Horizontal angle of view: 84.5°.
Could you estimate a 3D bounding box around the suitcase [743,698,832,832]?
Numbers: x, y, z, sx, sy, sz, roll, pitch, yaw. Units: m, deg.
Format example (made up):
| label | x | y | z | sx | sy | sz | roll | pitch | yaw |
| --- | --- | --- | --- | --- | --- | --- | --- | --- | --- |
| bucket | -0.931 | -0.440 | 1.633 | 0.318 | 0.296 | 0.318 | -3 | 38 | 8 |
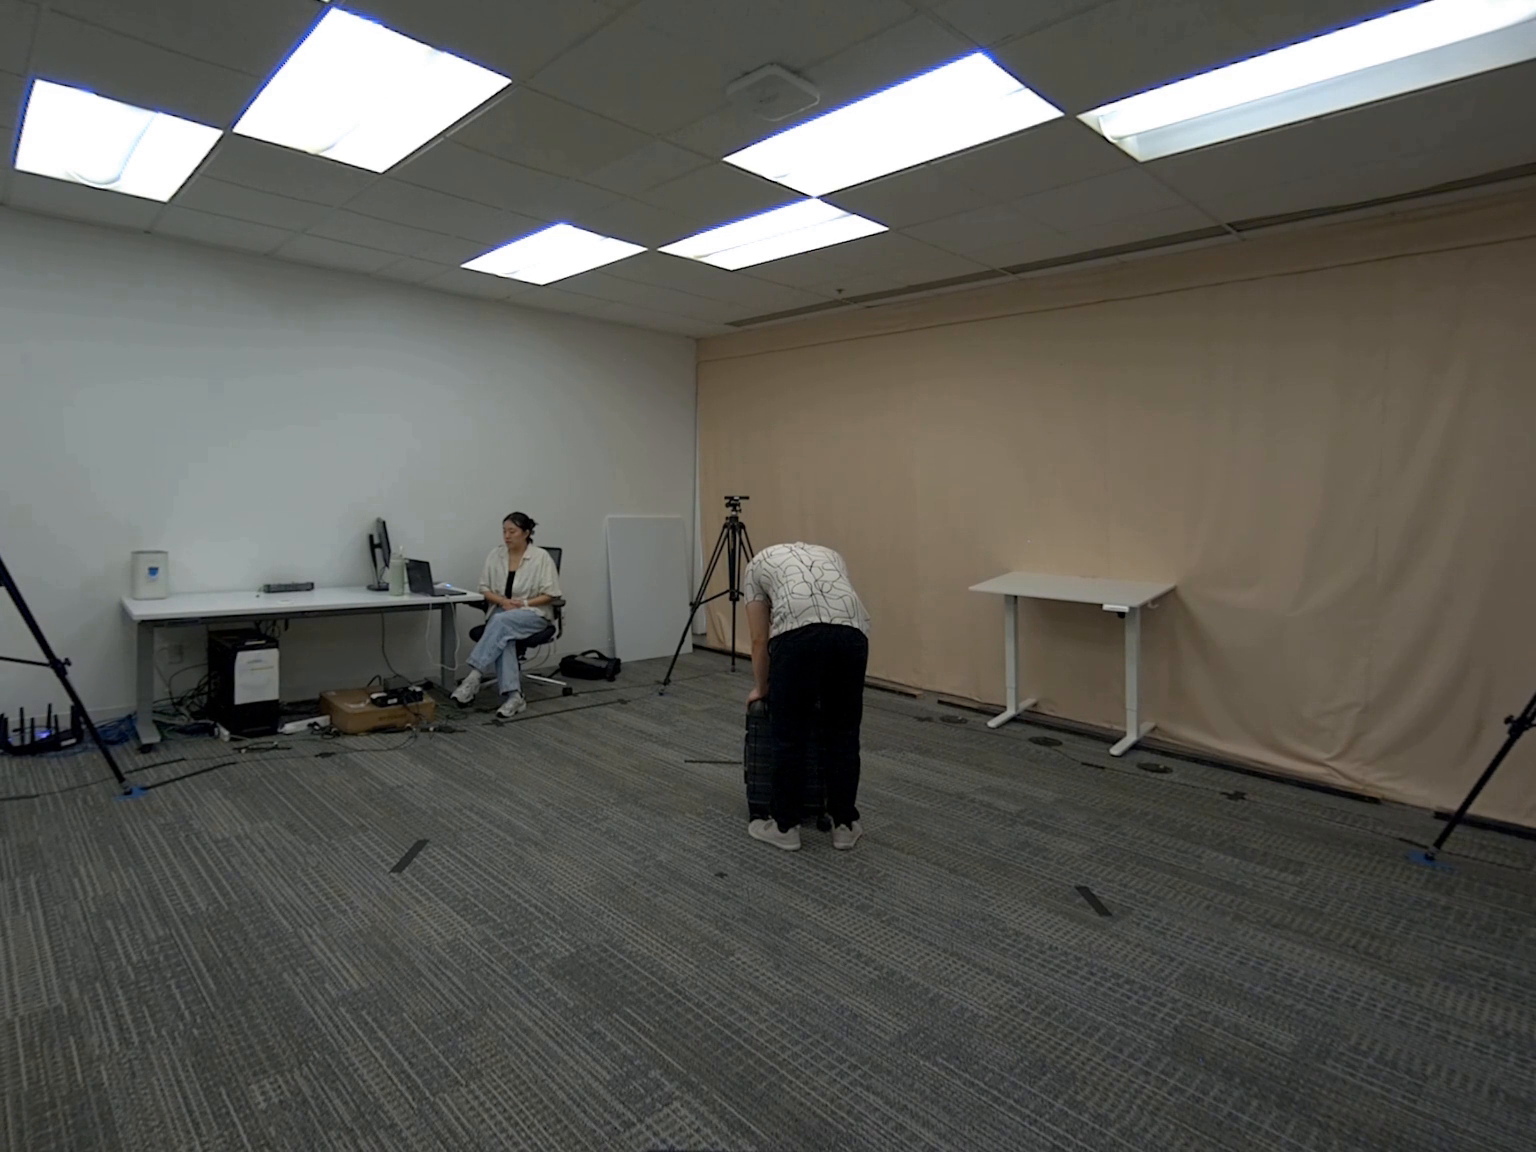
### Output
| label | x | y | z | sx | sy | sz | roll | pitch | yaw |
| --- | --- | --- | --- | --- | --- | --- | --- | --- | --- |
| suitcase | 0.082 | 0.786 | 3.687 | 0.377 | 0.549 | 0.247 | 1 | 1 | 5 |
